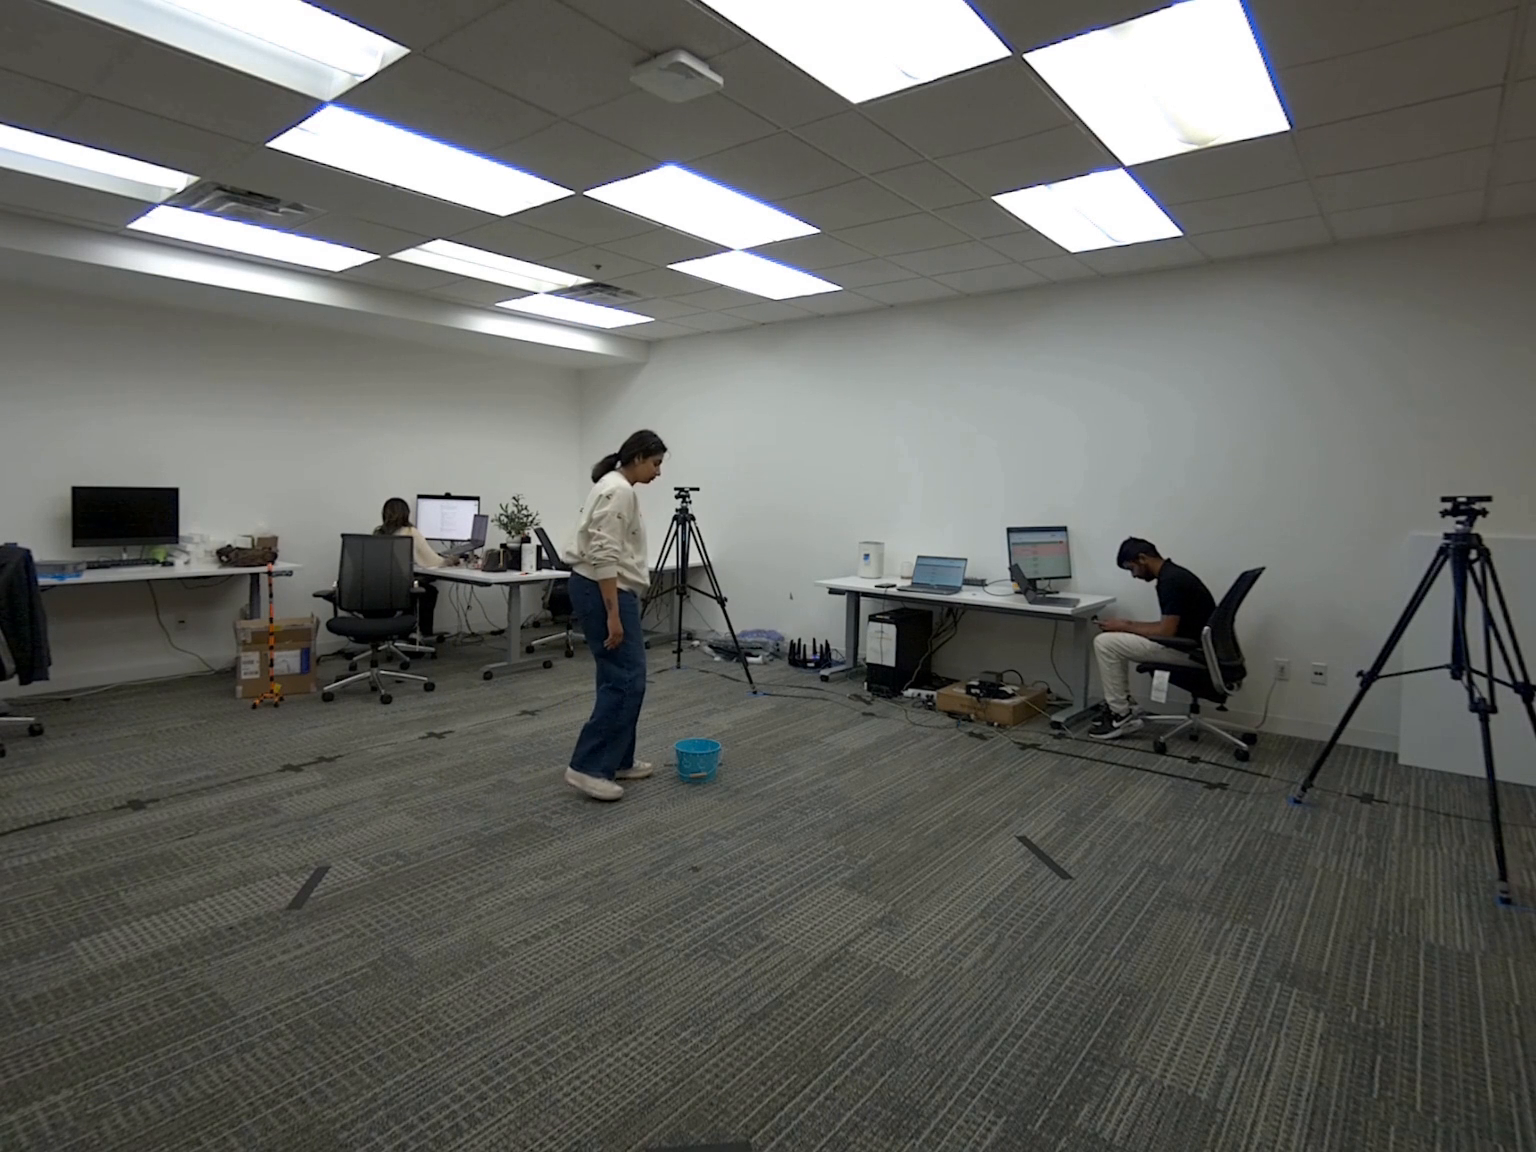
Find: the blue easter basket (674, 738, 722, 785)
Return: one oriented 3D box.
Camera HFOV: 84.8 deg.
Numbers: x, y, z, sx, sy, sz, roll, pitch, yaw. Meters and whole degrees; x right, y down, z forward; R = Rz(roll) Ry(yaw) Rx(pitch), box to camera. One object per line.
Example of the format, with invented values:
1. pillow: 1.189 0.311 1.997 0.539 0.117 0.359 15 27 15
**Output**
1. blue easter basket: -0.347 0.894 4.108 0.243 0.155 0.245 1 5 -2
